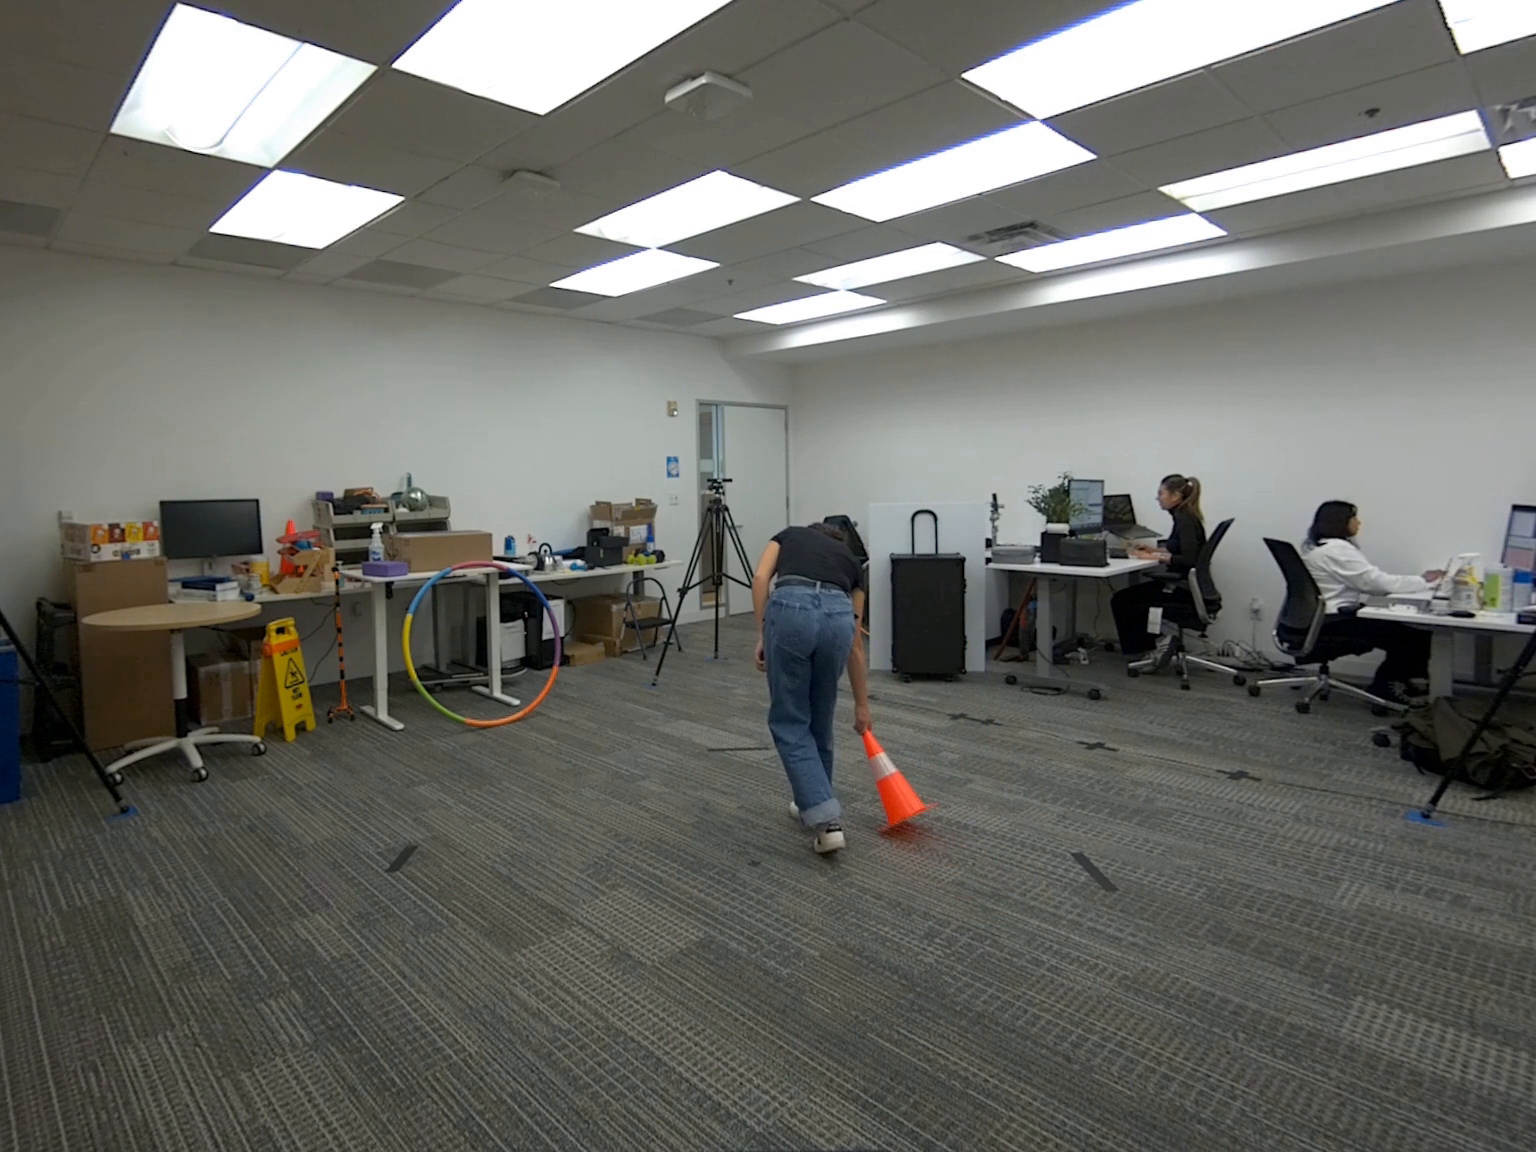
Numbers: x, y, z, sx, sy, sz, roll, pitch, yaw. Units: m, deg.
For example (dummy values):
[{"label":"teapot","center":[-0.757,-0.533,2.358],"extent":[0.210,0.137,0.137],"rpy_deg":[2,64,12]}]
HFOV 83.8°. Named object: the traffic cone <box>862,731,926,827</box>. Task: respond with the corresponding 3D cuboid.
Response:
[{"label":"traffic cone","center":[0.466,0.783,3.418],"extent":[0.198,0.393,0.205],"rpy_deg":[-8,-26,-39]}]
